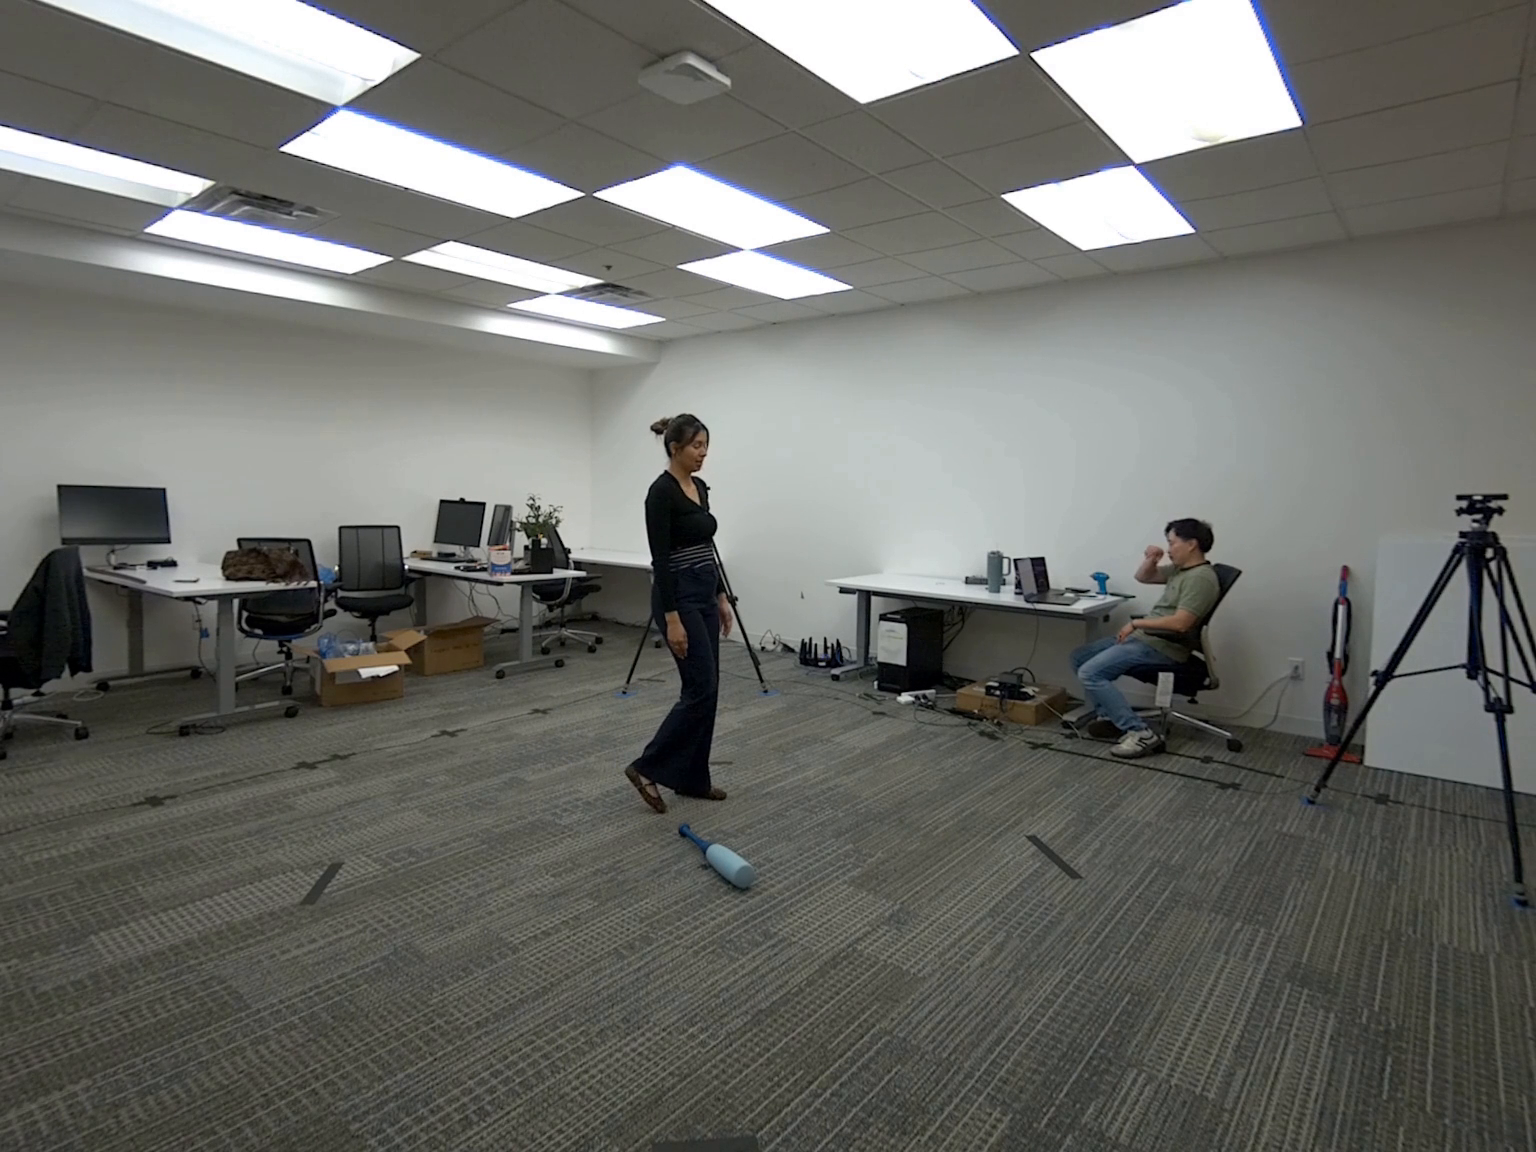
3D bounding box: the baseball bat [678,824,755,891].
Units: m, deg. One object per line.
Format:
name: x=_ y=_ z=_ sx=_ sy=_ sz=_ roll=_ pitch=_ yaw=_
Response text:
baseball bat: x=-0.219 y=1.026 z=3.163 sx=0.087 sy=0.089 sz=0.557 roll=-1 pitch=2 yaw=-28
